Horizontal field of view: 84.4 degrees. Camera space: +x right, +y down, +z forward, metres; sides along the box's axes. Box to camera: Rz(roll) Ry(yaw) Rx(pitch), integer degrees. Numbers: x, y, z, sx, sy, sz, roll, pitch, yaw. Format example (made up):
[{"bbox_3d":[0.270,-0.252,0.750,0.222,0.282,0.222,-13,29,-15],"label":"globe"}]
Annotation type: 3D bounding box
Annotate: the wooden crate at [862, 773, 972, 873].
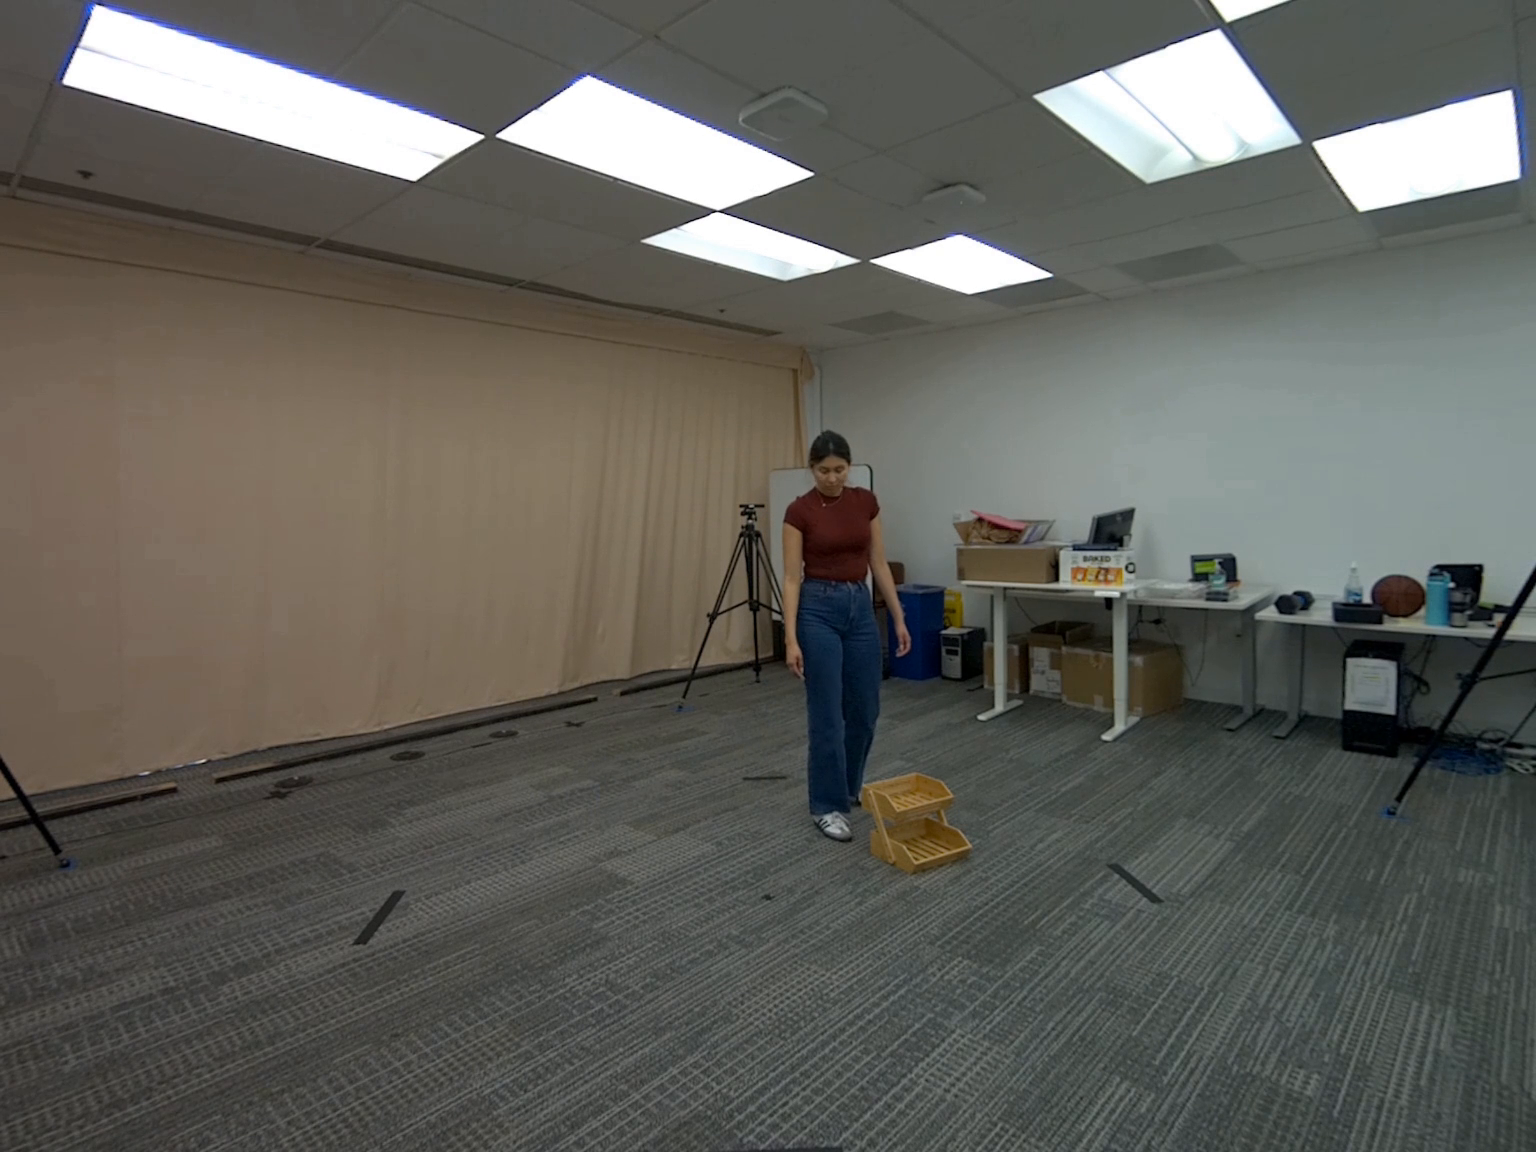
[{"bbox_3d":[0.590,0.962,3.326,0.315,0.273,0.311,-3,4,-33],"label":"wooden crate"}]
